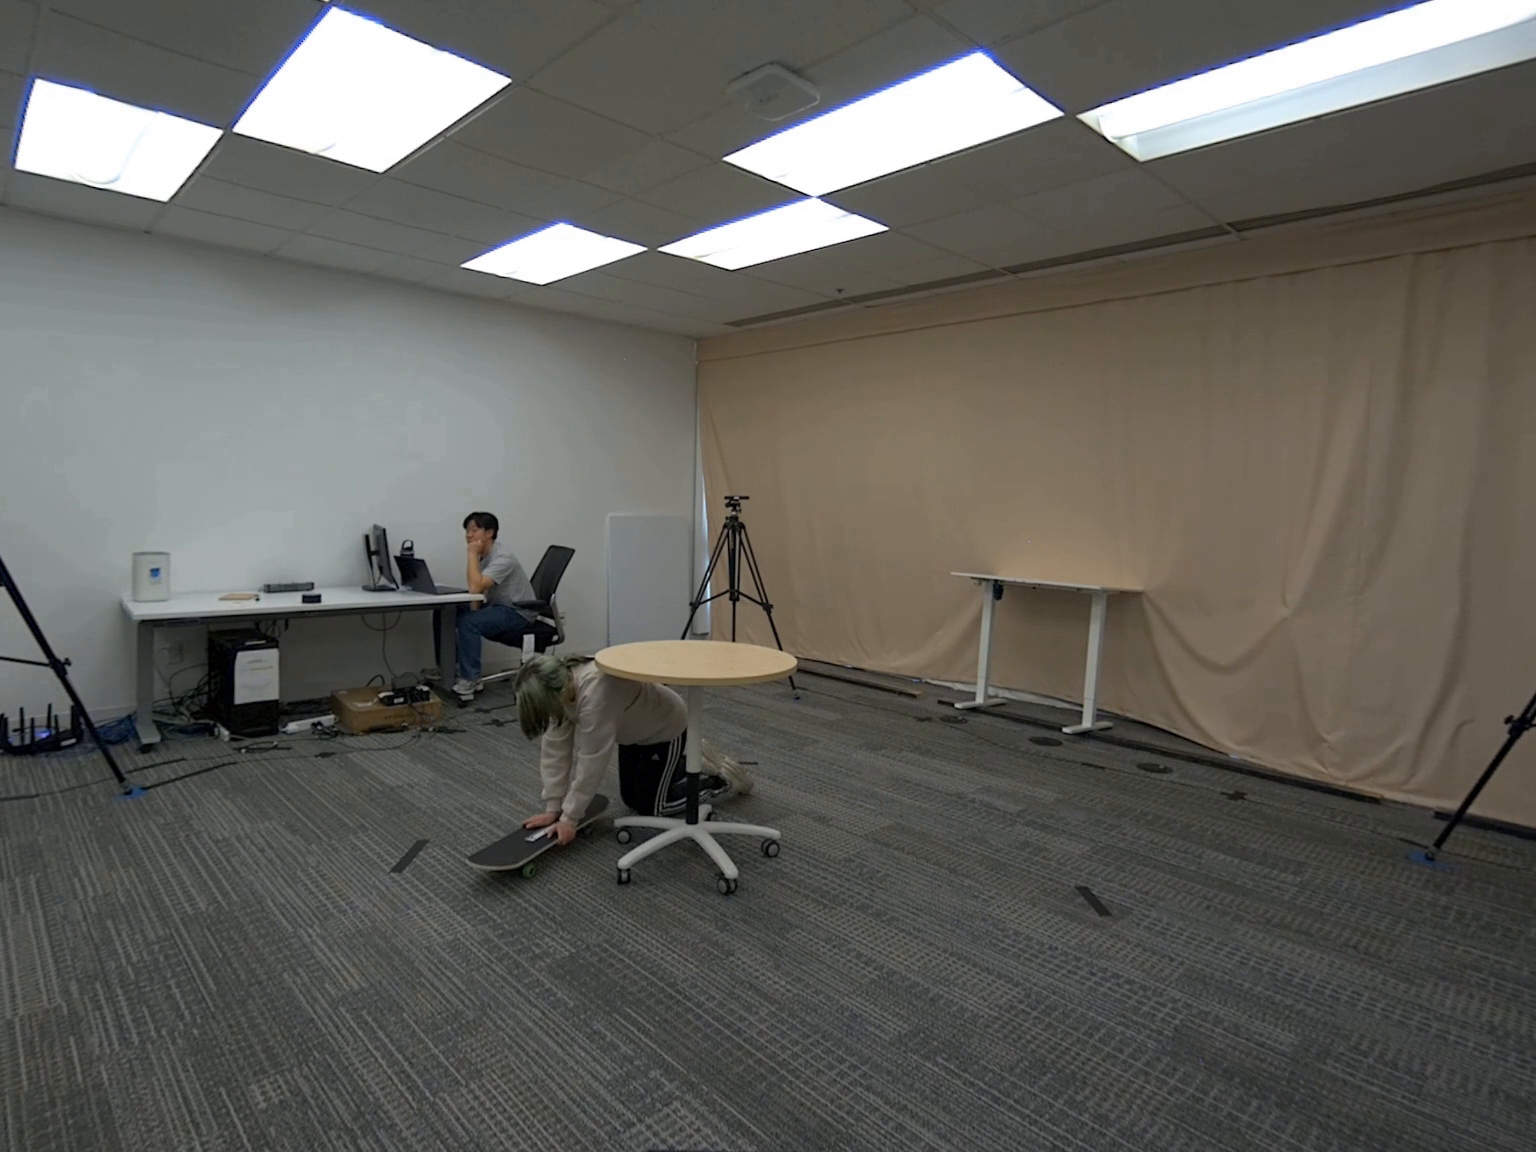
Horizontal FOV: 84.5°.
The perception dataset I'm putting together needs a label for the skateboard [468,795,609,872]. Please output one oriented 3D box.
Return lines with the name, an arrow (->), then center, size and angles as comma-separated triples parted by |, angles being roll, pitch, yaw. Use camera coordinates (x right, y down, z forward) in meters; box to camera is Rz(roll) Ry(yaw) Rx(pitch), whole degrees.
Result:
skateboard -> -0.866, 1.005, 3.249 | 0.197, 0.110, 0.774 | 4, 5, 21
